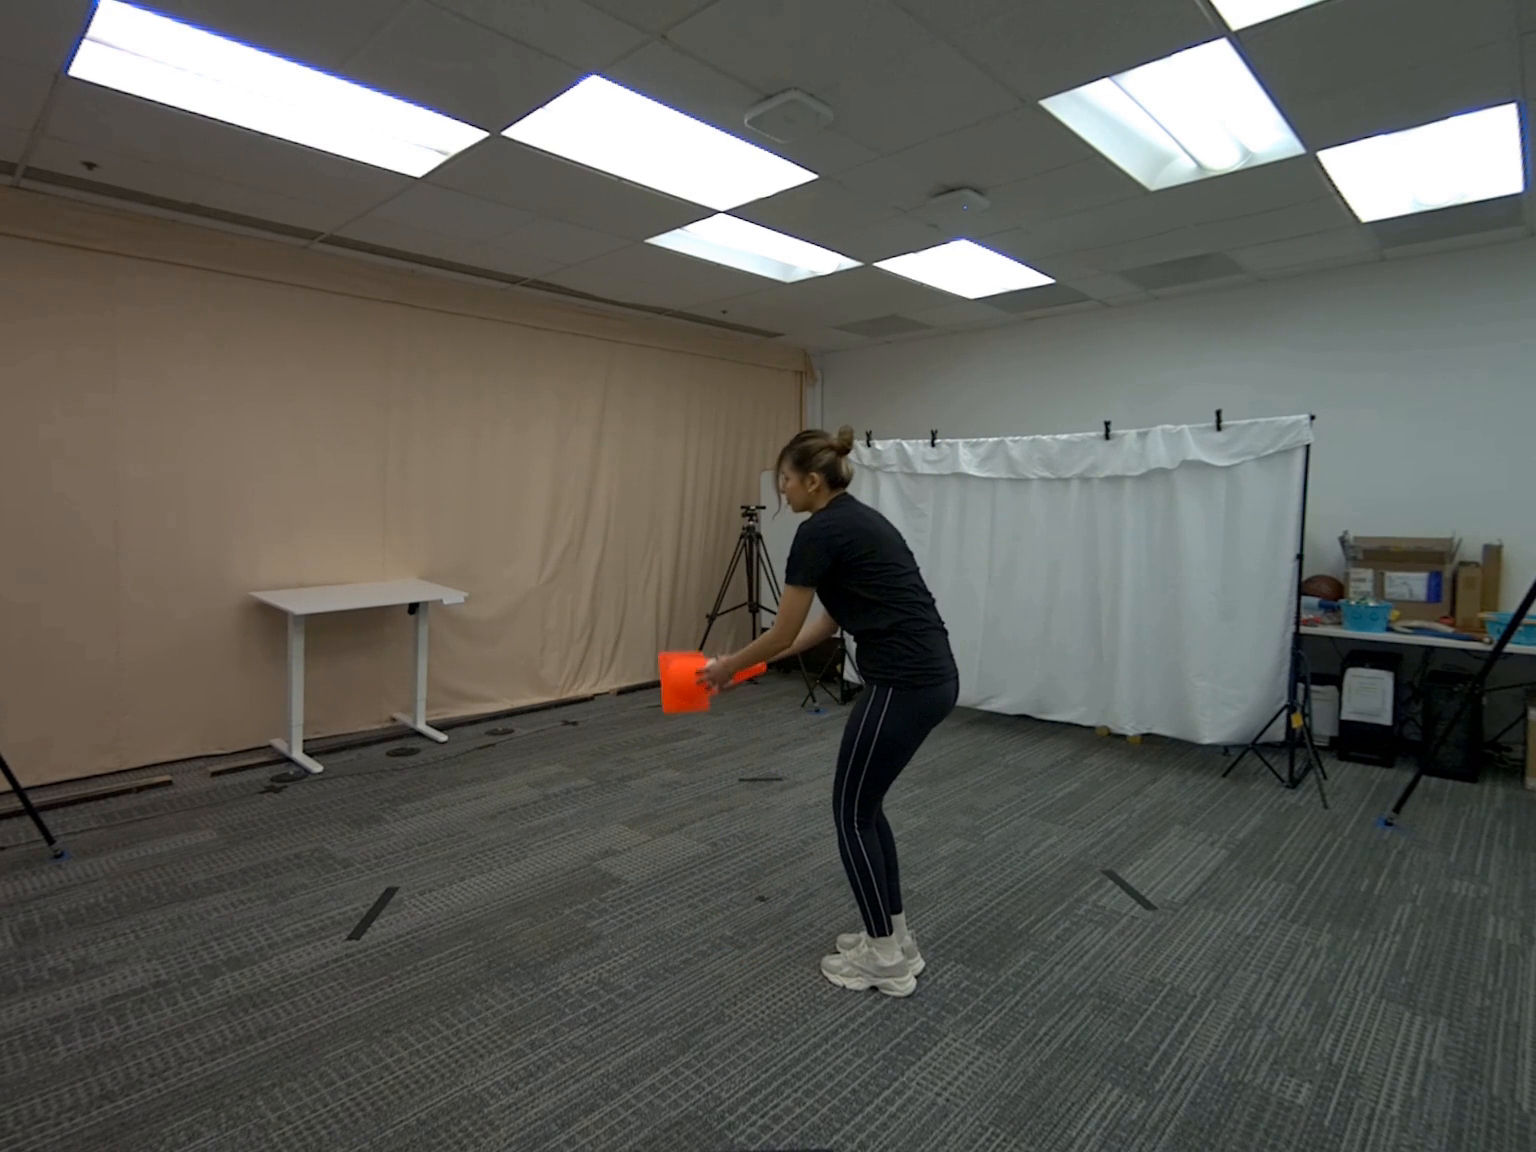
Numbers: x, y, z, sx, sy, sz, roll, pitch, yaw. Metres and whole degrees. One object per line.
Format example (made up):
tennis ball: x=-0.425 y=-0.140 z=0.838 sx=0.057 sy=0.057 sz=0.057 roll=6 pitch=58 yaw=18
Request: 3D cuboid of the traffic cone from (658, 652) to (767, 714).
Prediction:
traffic cone: x=-0.149 y=0.311 z=2.701 sx=0.198 sy=0.205 sz=0.393 roll=4 pitch=-15 yaw=-43
